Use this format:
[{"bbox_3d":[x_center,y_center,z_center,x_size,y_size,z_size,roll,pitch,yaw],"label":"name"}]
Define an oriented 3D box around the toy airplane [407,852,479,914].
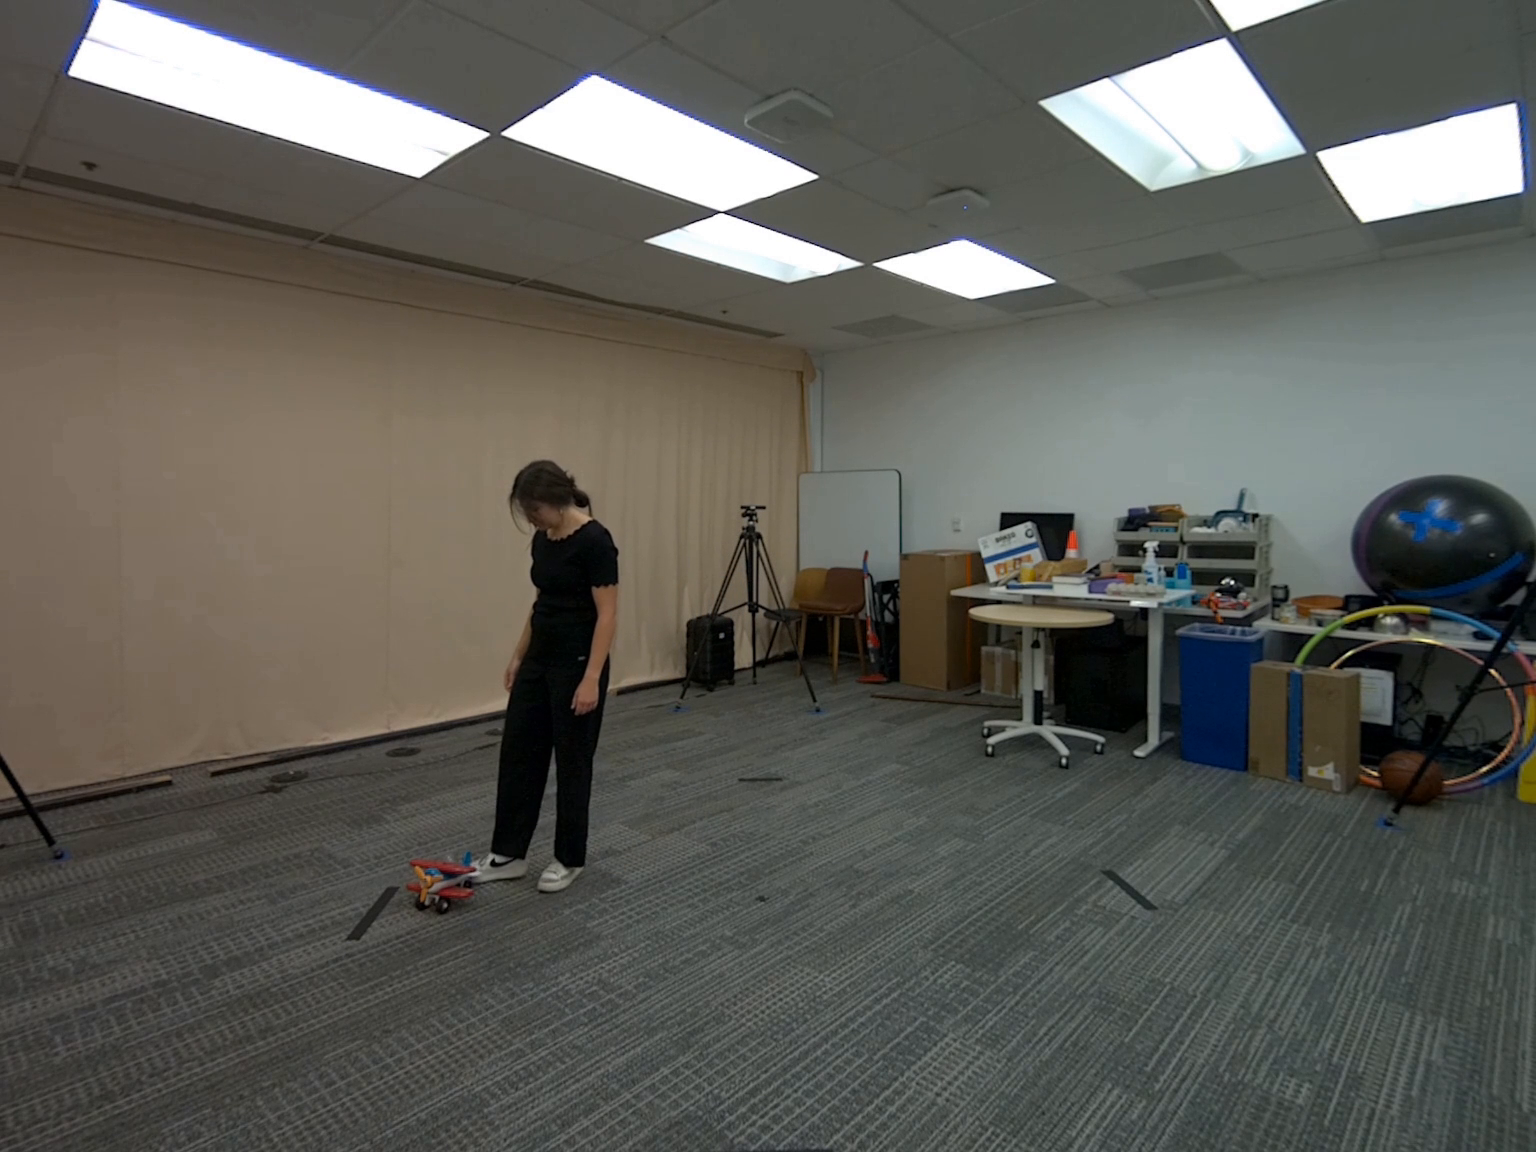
[{"bbox_3d":[-1.160,1.080,2.988,0.248,0.156,0.263,0,6,-11],"label":"toy airplane"}]
